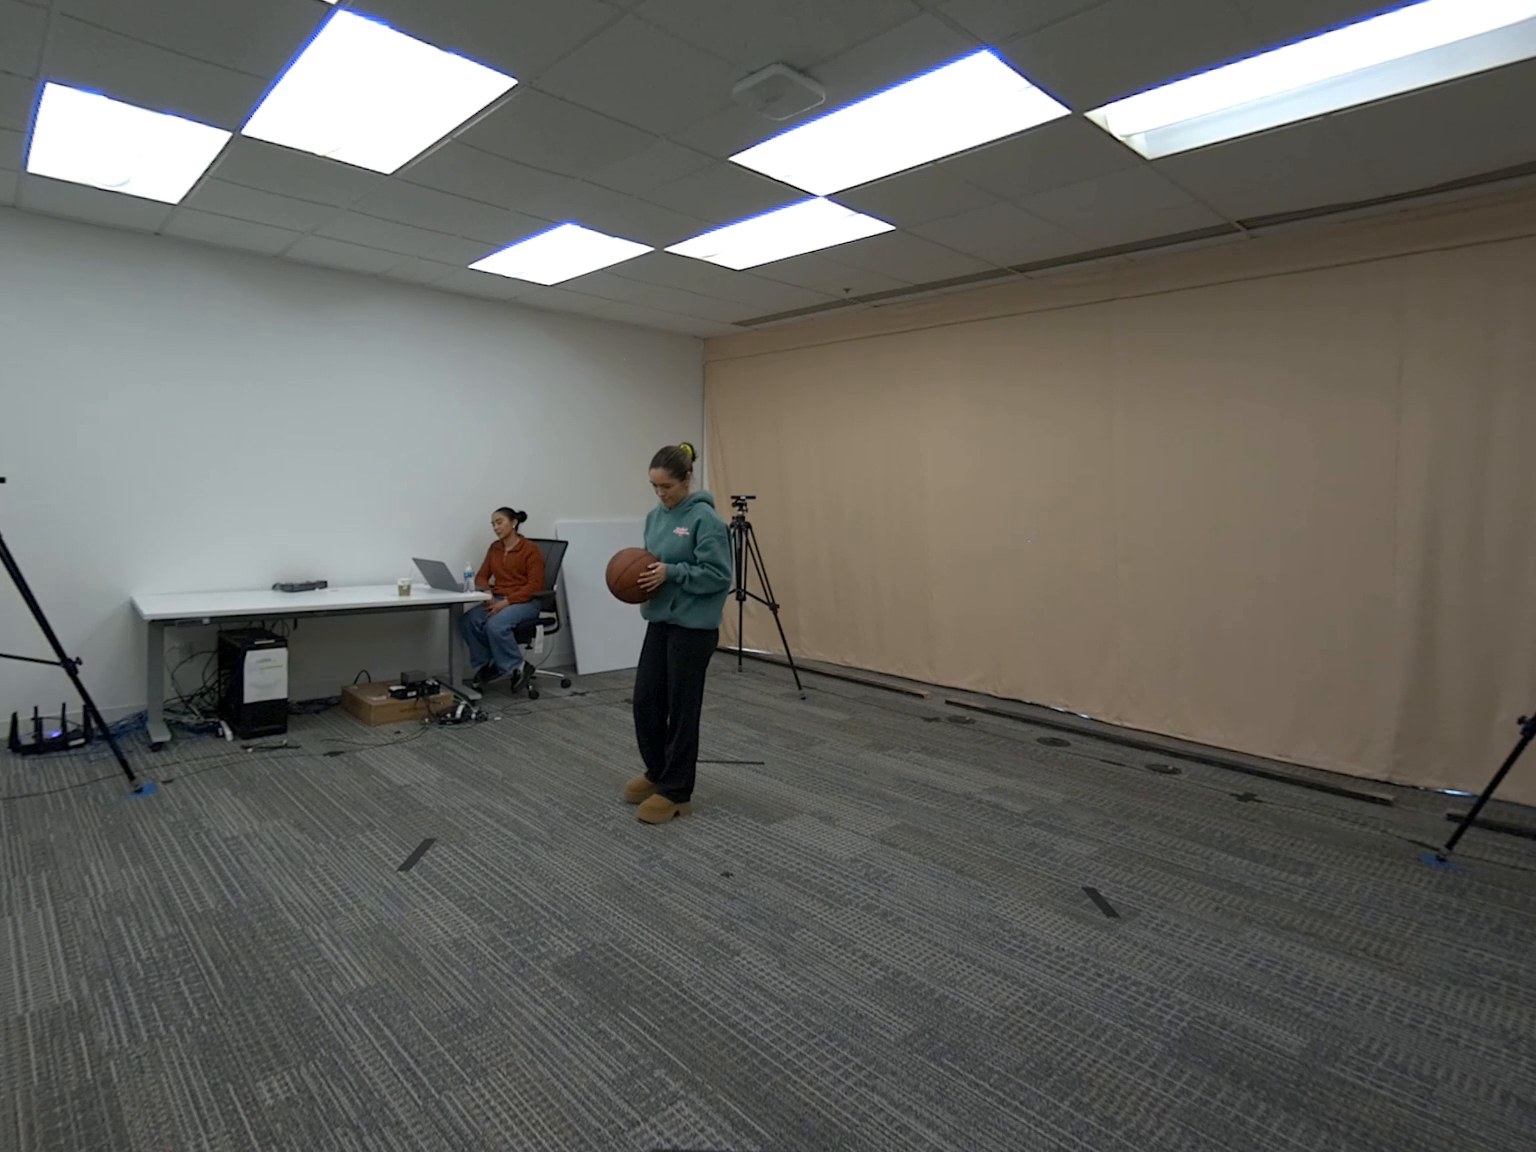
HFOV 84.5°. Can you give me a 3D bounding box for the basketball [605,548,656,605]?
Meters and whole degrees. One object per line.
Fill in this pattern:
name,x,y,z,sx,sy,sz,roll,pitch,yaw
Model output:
basketball,-0.581,-0.003,3.510,0.236,0.235,0.237,1,4,-1
